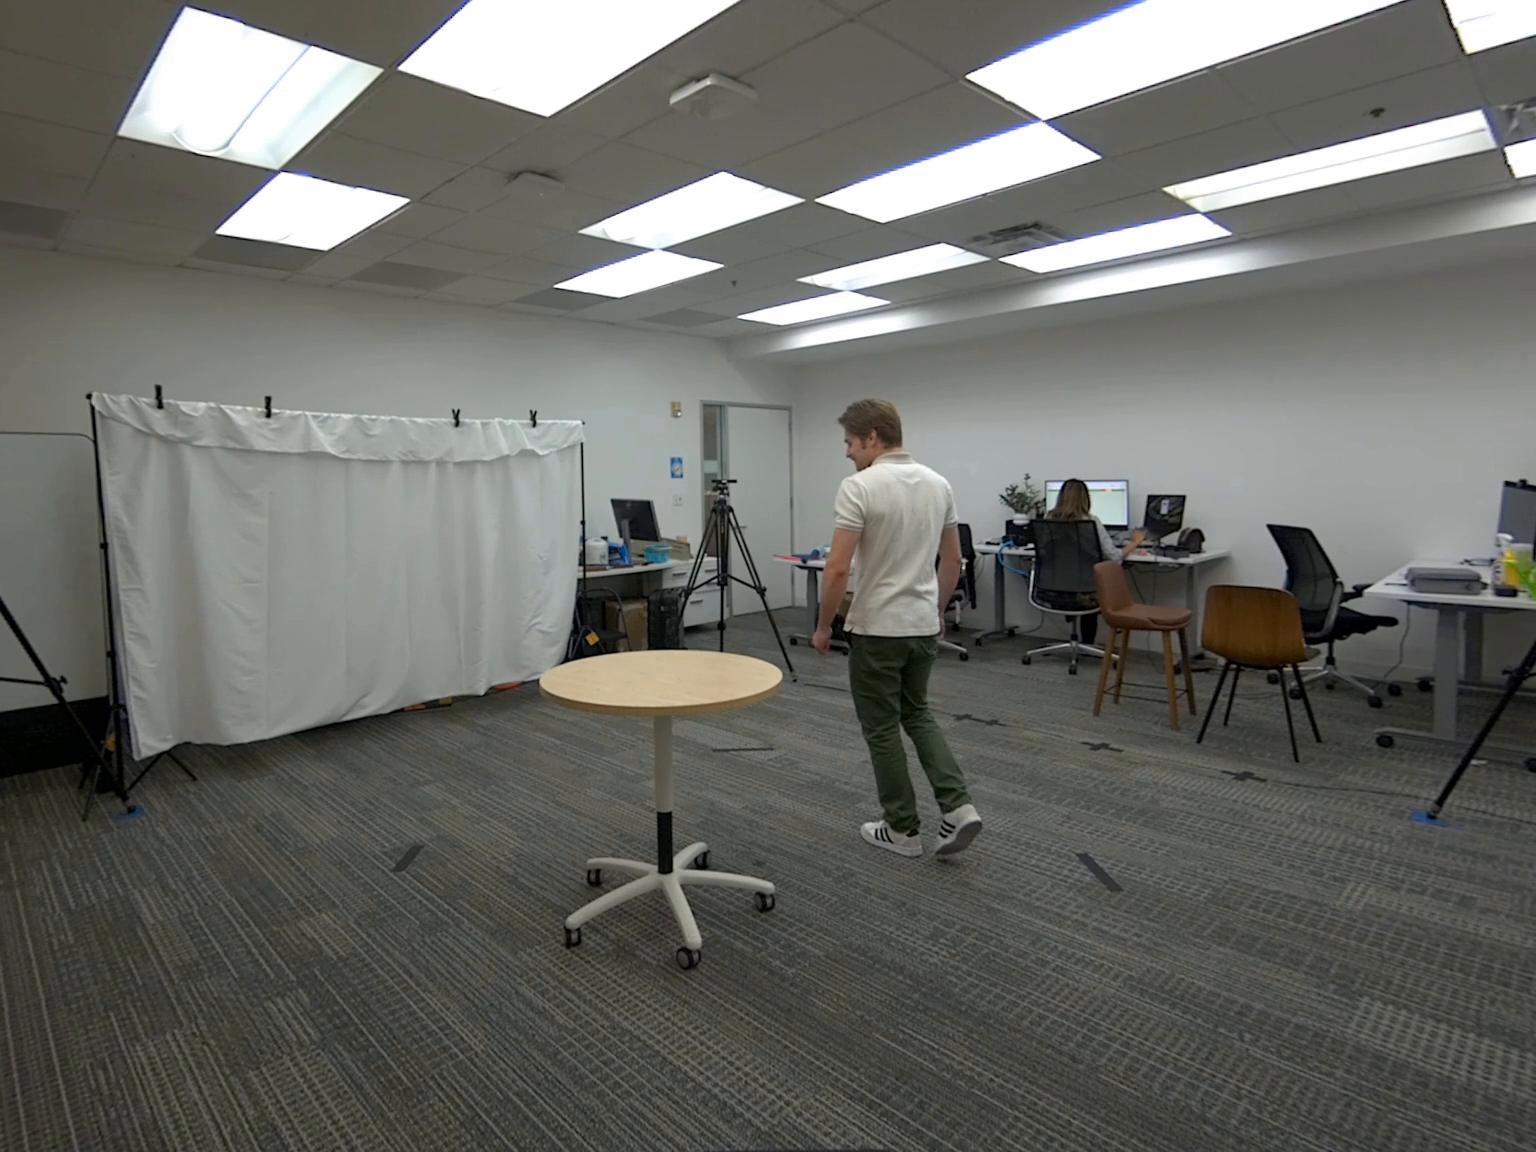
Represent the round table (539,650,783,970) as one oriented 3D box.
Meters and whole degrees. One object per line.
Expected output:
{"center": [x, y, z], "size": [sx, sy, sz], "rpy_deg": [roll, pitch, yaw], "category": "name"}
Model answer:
{"center": [-0.333, 0.706, 2.748], "size": [0.763, 0.791, 0.768], "rpy_deg": [-1, 5, -2], "category": "round table"}
